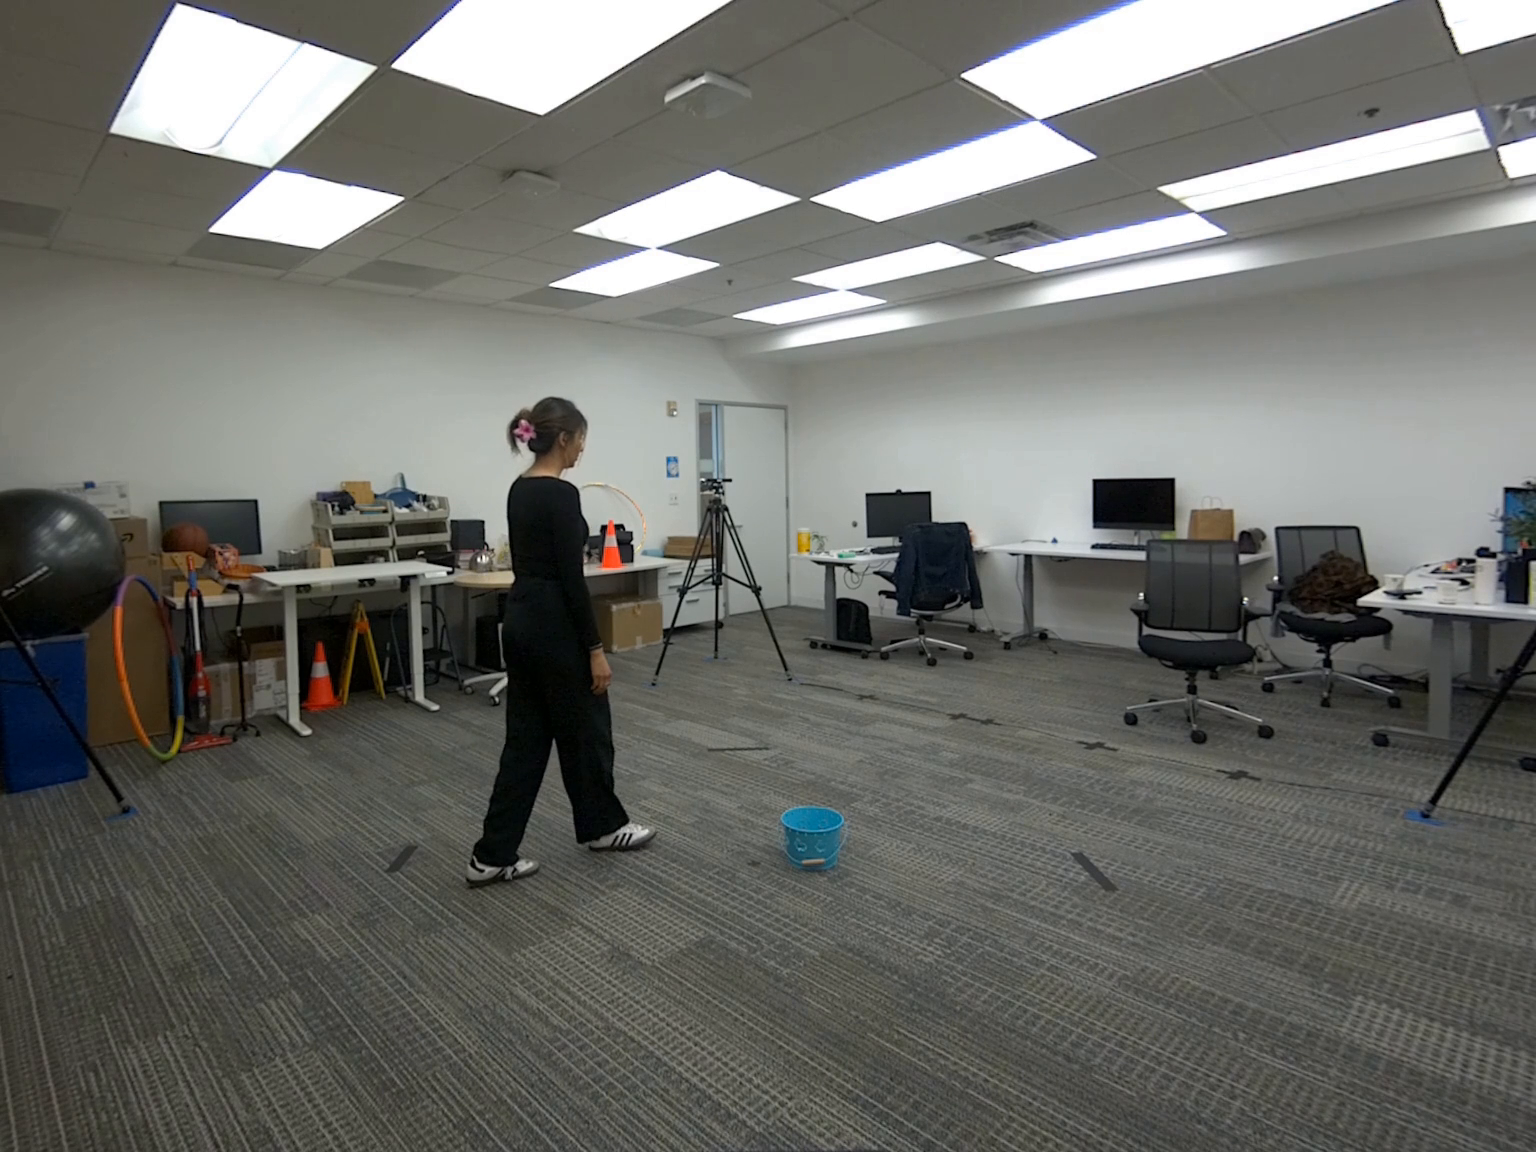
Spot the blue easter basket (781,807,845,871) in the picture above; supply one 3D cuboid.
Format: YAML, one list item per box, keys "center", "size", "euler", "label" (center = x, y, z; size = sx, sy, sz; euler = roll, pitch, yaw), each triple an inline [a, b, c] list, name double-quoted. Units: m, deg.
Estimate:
- center: [0.155, 0.954, 3.125]
  size: [0.243, 0.155, 0.245]
  euler: [0, 5, -2]
  label: "blue easter basket"
